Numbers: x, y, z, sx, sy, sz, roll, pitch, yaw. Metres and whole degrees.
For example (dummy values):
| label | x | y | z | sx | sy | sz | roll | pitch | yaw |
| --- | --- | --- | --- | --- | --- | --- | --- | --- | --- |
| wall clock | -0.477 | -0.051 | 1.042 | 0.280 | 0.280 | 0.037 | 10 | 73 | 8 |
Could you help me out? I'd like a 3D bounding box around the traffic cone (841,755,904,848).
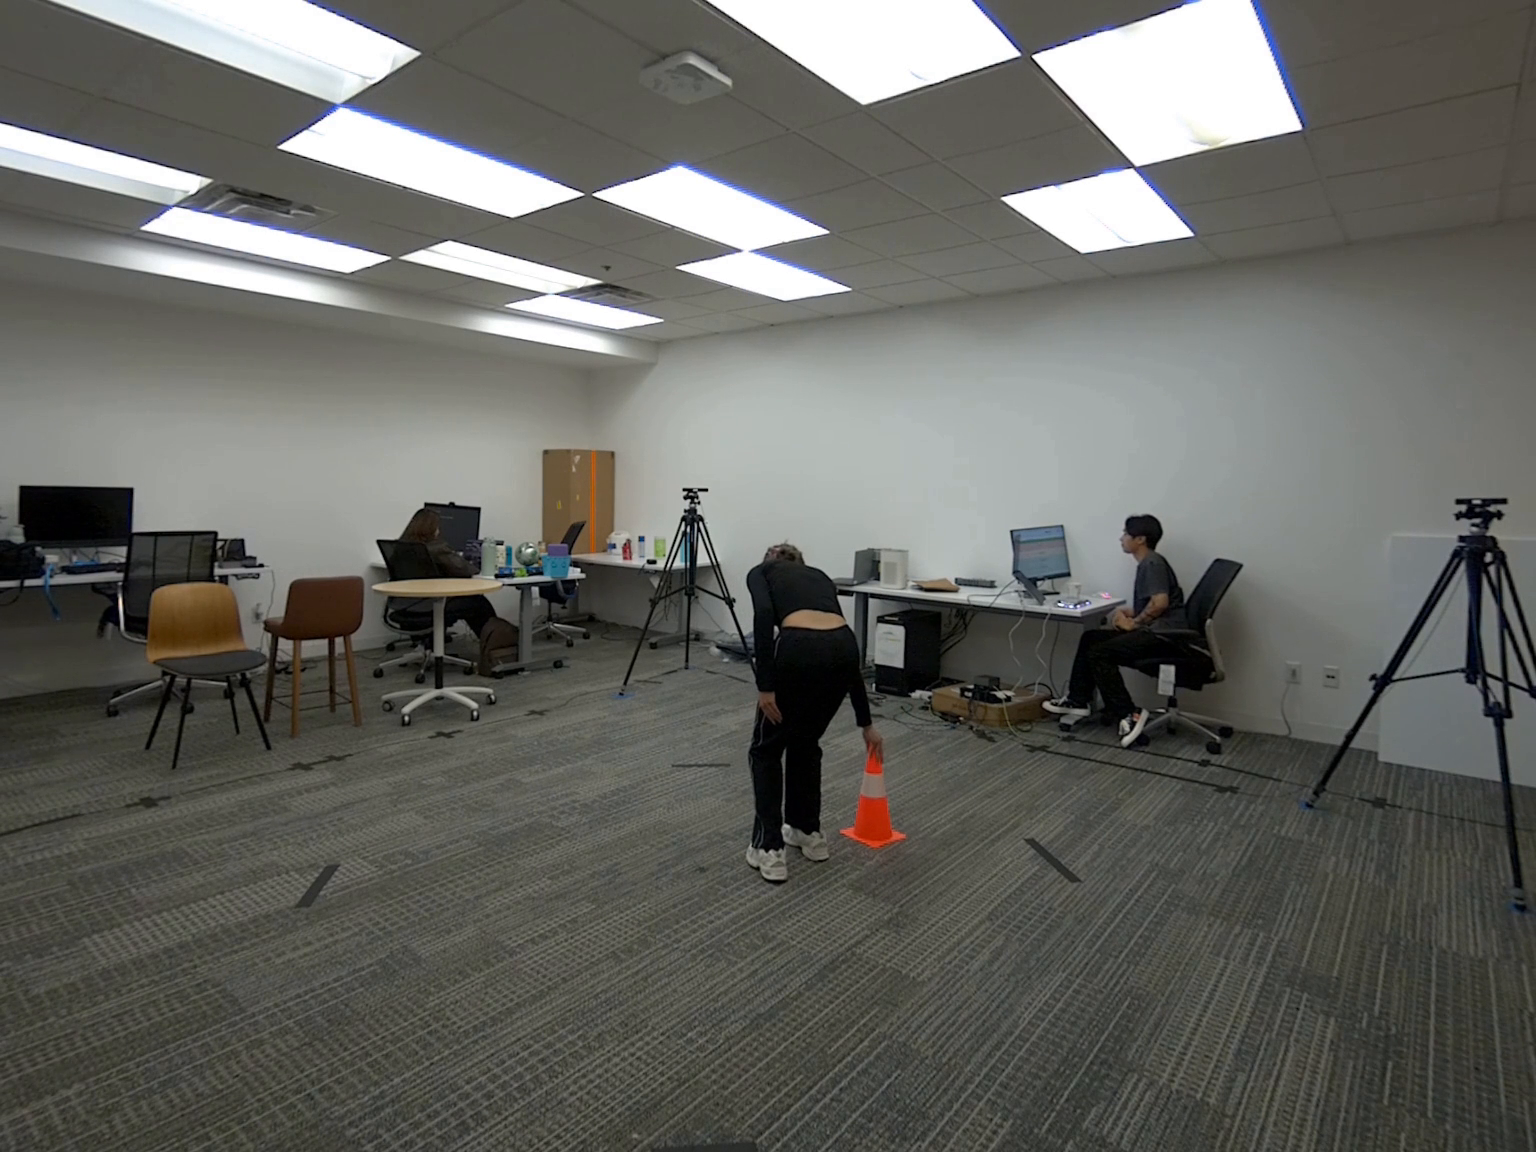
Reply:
| label | x | y | z | sx | sy | sz | roll | pitch | yaw |
| --- | --- | --- | --- | --- | --- | --- | --- | --- | --- |
| traffic cone | 0.420 | 0.861 | 3.464 | 0.198 | 0.383 | 0.210 | -1 | 2 | -41 |
